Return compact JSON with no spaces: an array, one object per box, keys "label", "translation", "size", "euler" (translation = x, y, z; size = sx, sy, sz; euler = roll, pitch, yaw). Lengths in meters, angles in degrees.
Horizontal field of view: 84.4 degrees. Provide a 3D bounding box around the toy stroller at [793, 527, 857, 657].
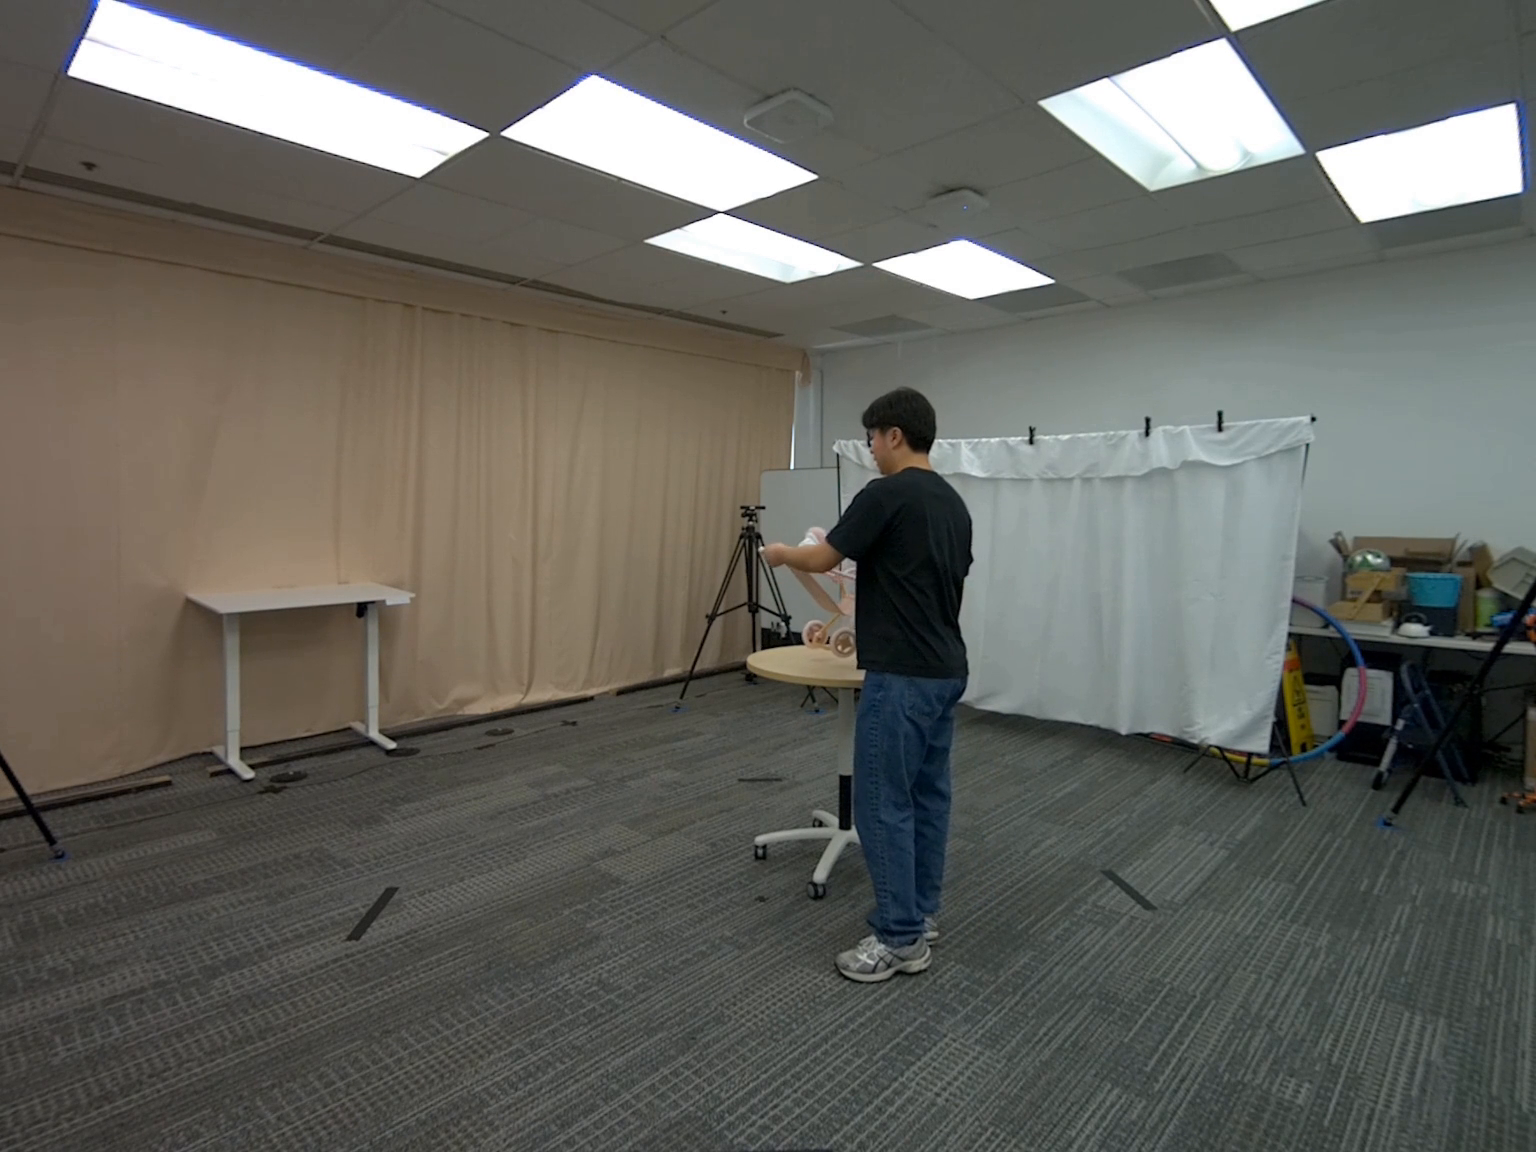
[{"label":"toy stroller","translation":[0.246,0.048,3.139],"size":[0.339,0.529,0.286],"euler":[-31,10,-12]}]
